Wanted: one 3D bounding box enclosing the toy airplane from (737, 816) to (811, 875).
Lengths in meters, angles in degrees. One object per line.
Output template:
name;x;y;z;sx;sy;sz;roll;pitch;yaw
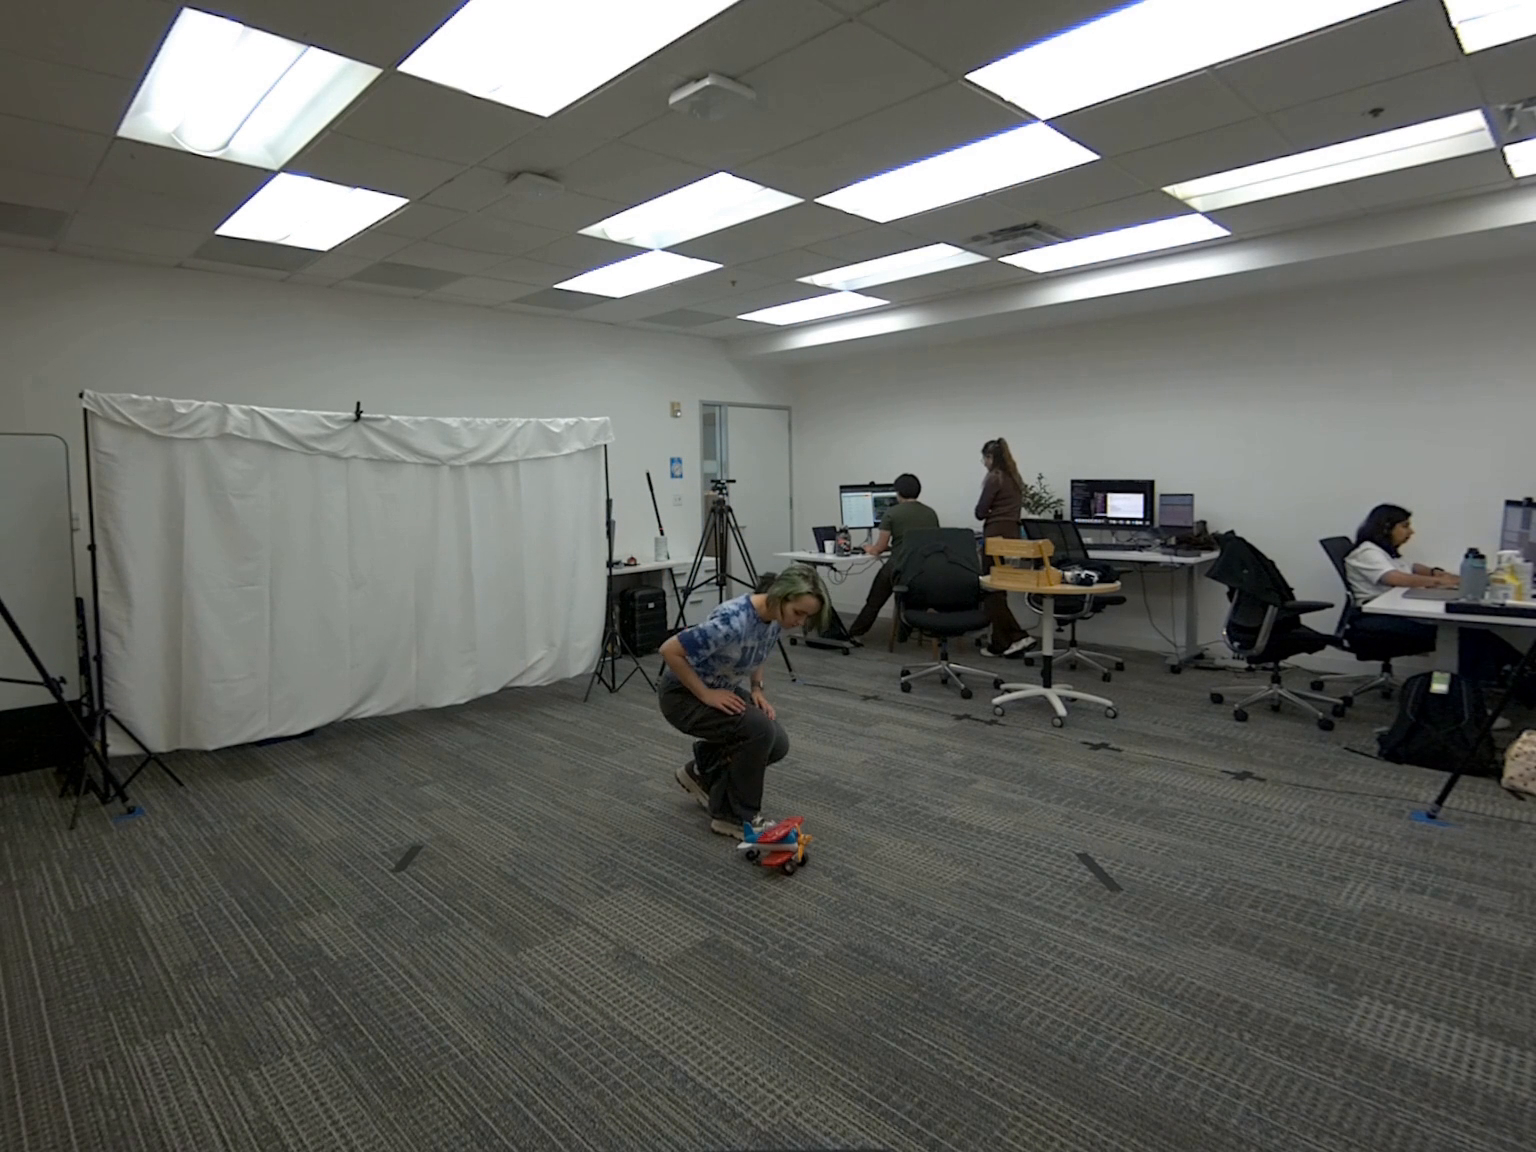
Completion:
toy airplane;0.015;0.977;3.083;0.260;0.156;0.251;0;5;4
